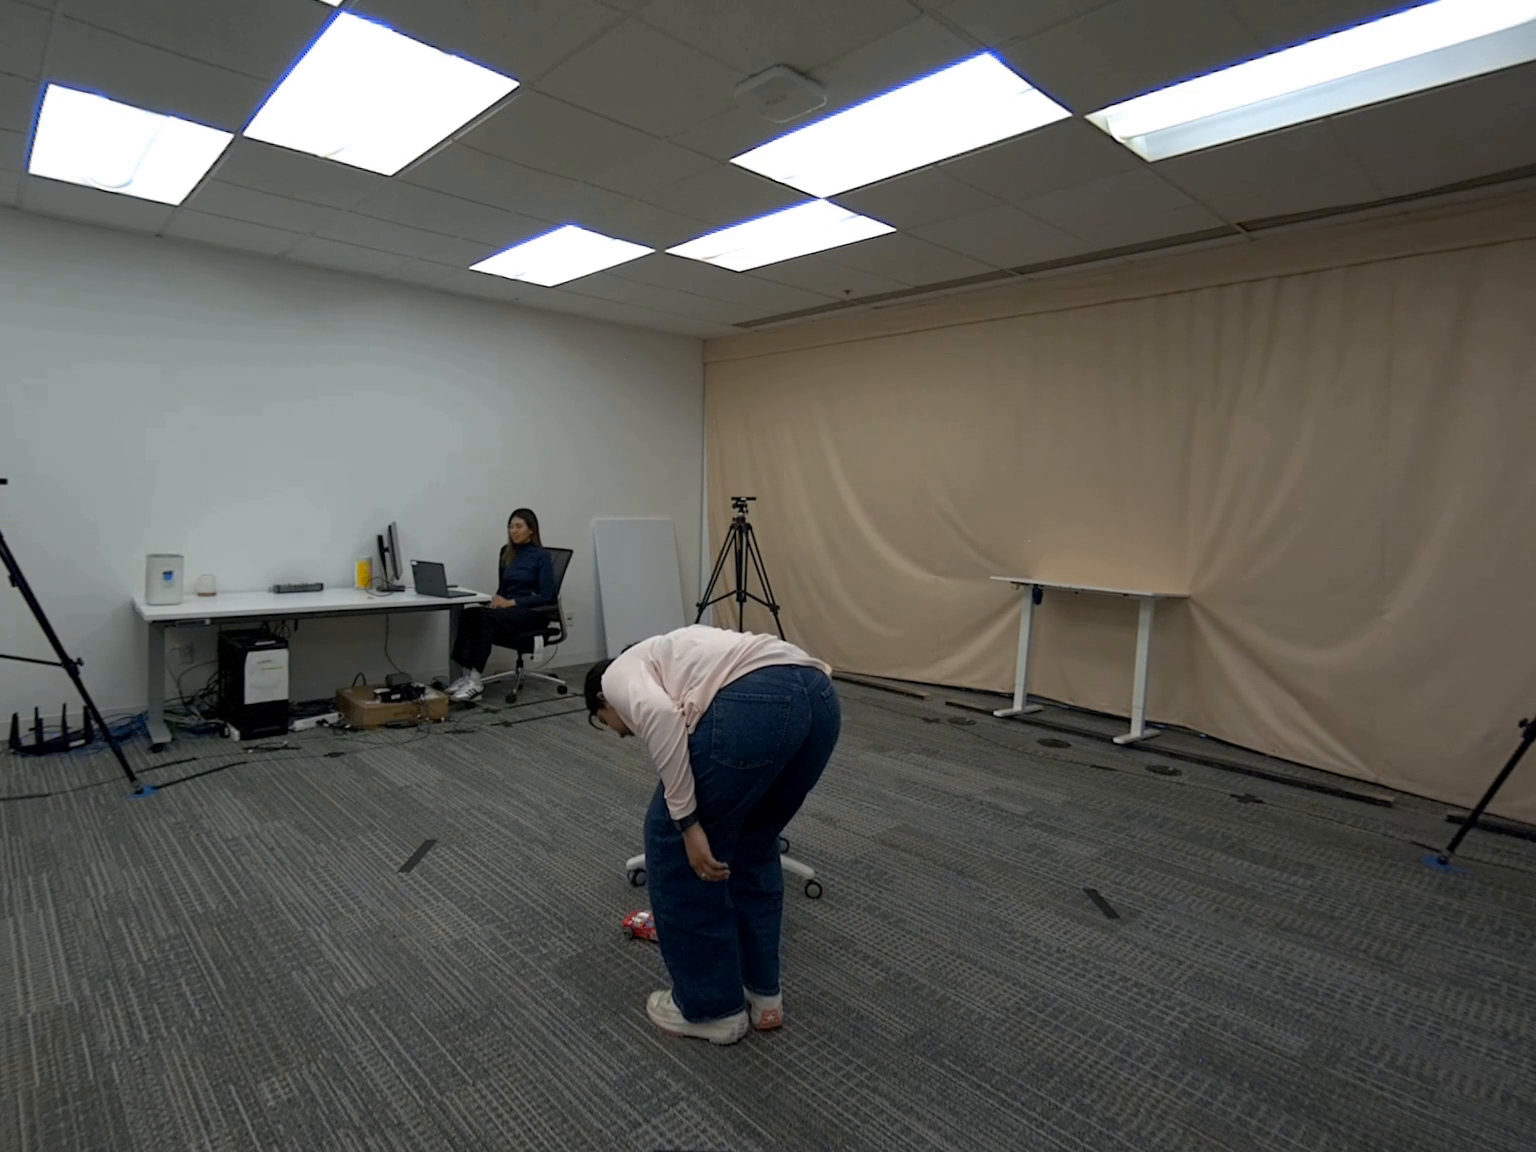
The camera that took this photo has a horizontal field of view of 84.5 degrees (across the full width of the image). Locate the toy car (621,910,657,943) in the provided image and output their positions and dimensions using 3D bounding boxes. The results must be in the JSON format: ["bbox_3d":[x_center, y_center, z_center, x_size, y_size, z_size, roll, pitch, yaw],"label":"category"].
[{"bbox_3d":[-0.331,1.114,2.645,0.258,0.083,0.128,-8,-1,24],"label":"toy car"}]
